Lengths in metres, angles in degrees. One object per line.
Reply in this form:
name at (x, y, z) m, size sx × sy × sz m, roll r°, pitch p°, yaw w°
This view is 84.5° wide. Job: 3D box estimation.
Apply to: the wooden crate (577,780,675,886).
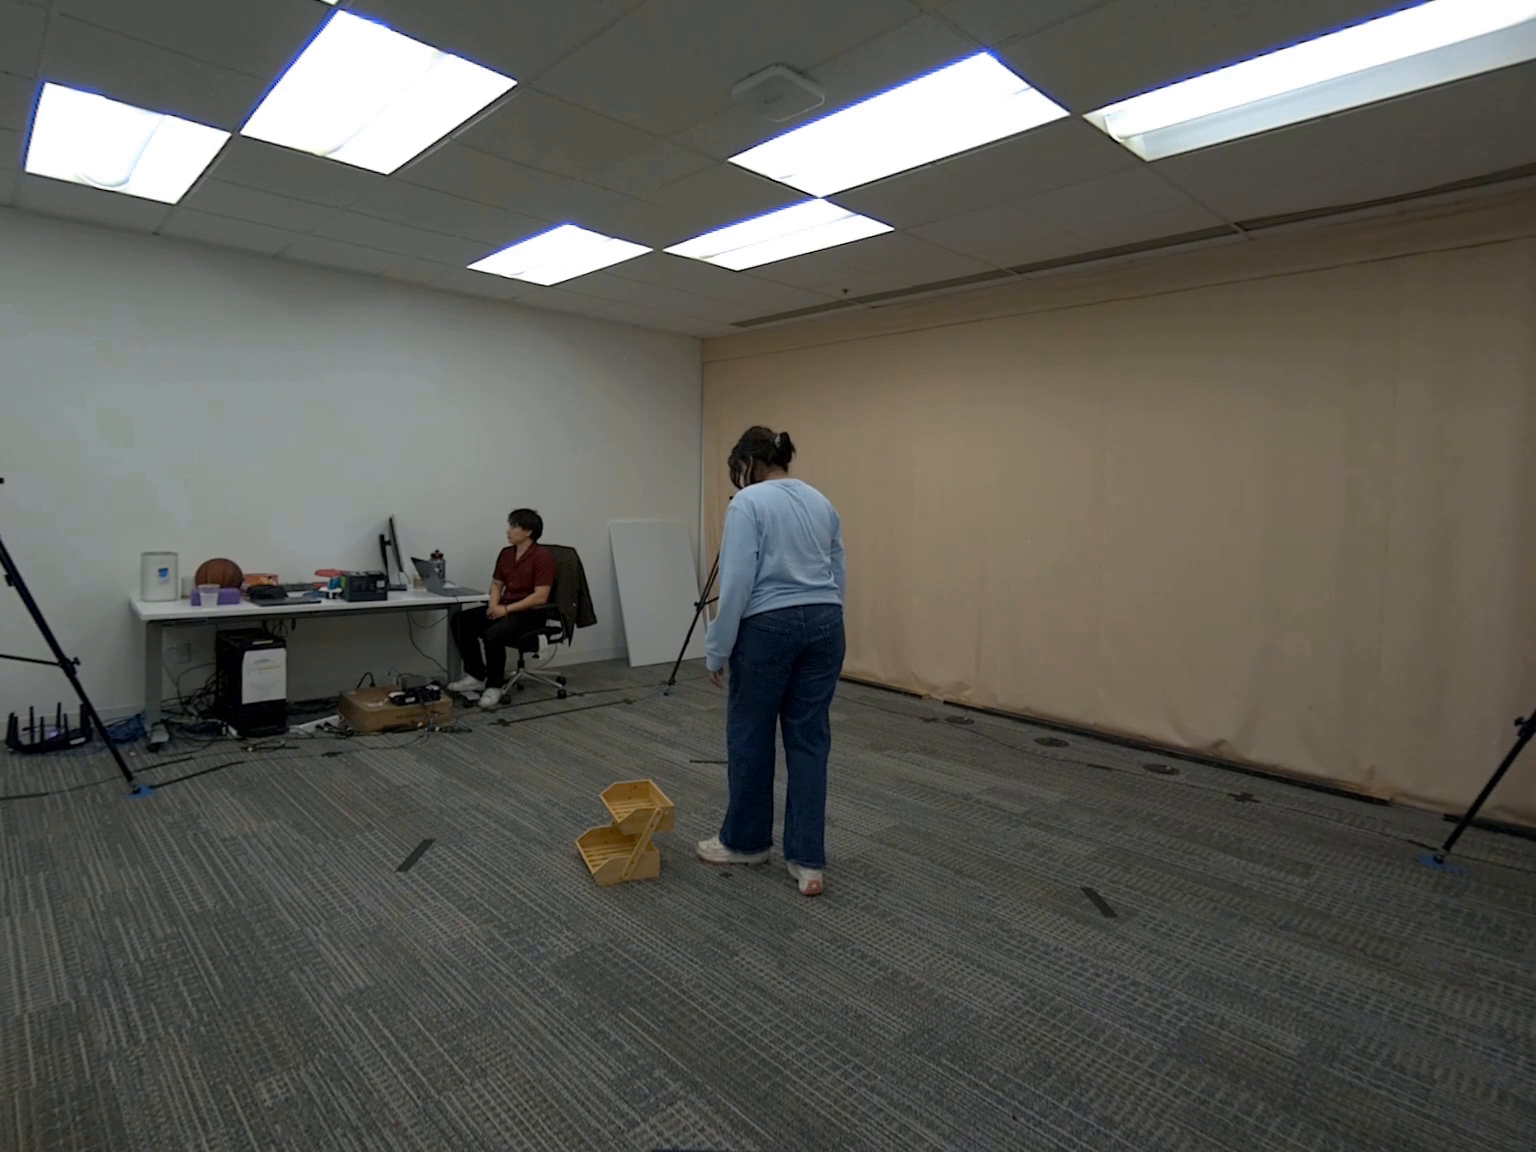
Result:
wooden crate at (-0.551, 0.948, 3.176) m, size 0.297 × 0.272 × 0.331 m, roll 0°, pitch 5°, yaw -24°
